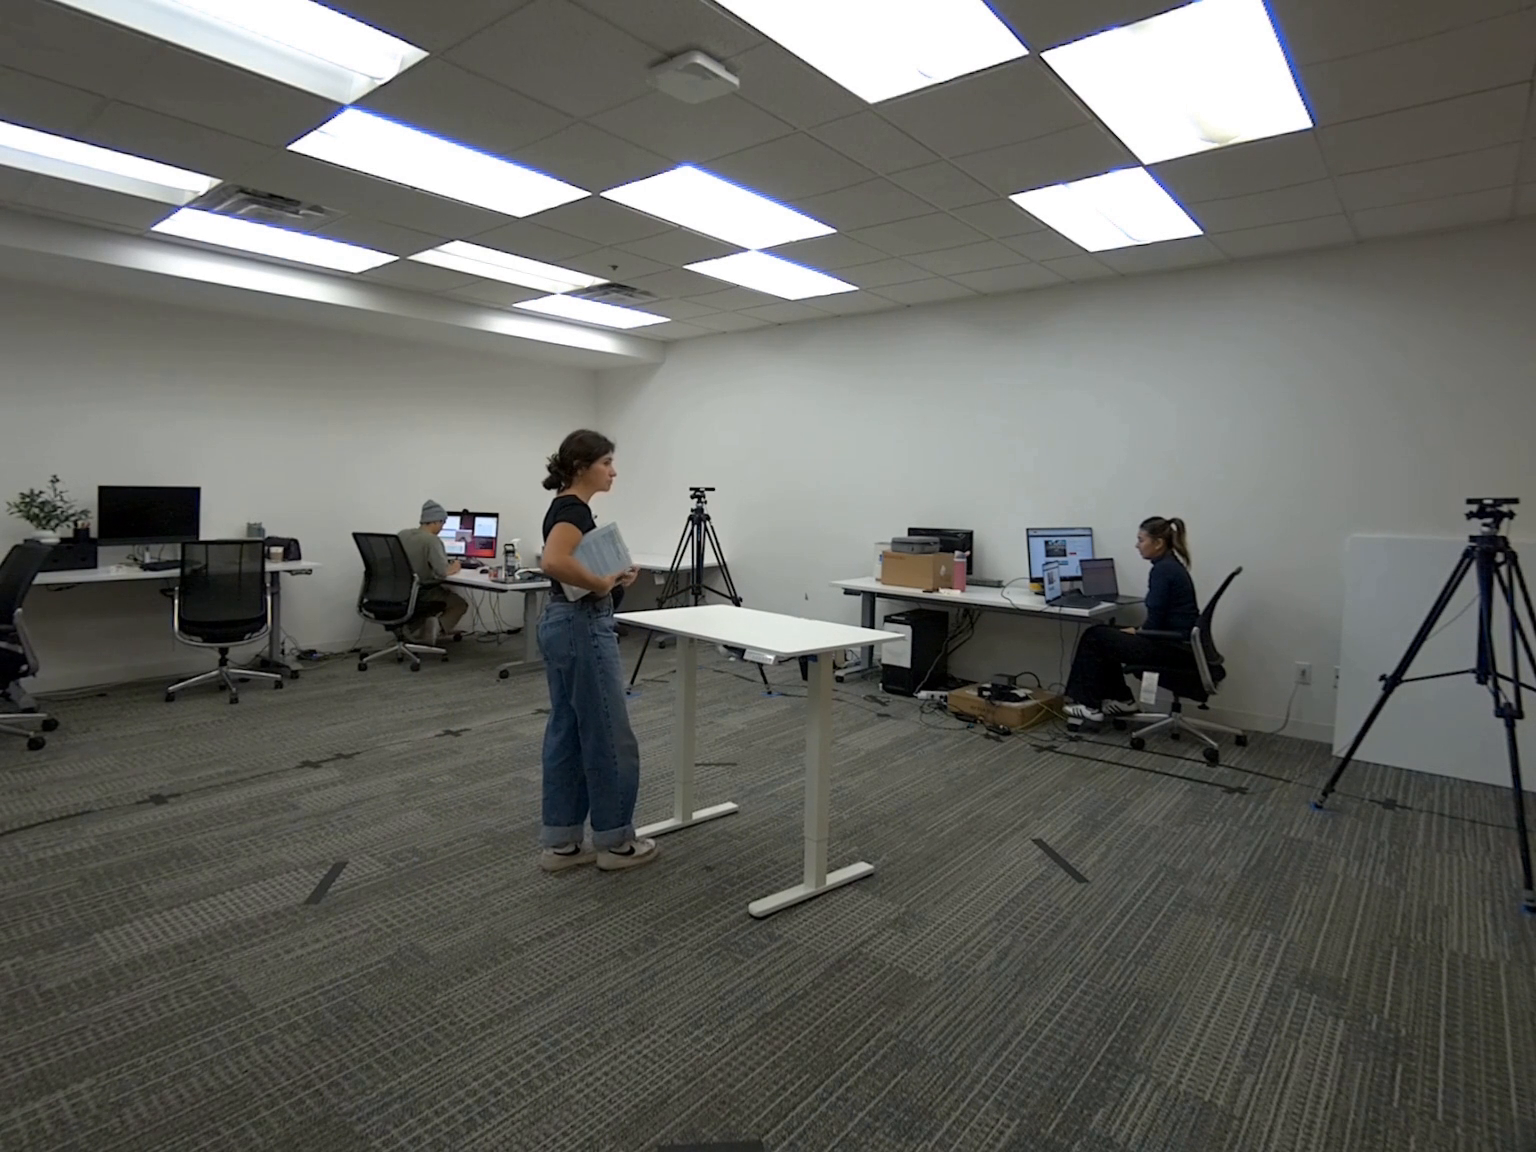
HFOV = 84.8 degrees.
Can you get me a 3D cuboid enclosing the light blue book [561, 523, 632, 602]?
[{"bbox_3d":[-0.631,-0.056,2.984,0.258,0.189,0.060,-30,10,-31],"label":"light blue book"}]
